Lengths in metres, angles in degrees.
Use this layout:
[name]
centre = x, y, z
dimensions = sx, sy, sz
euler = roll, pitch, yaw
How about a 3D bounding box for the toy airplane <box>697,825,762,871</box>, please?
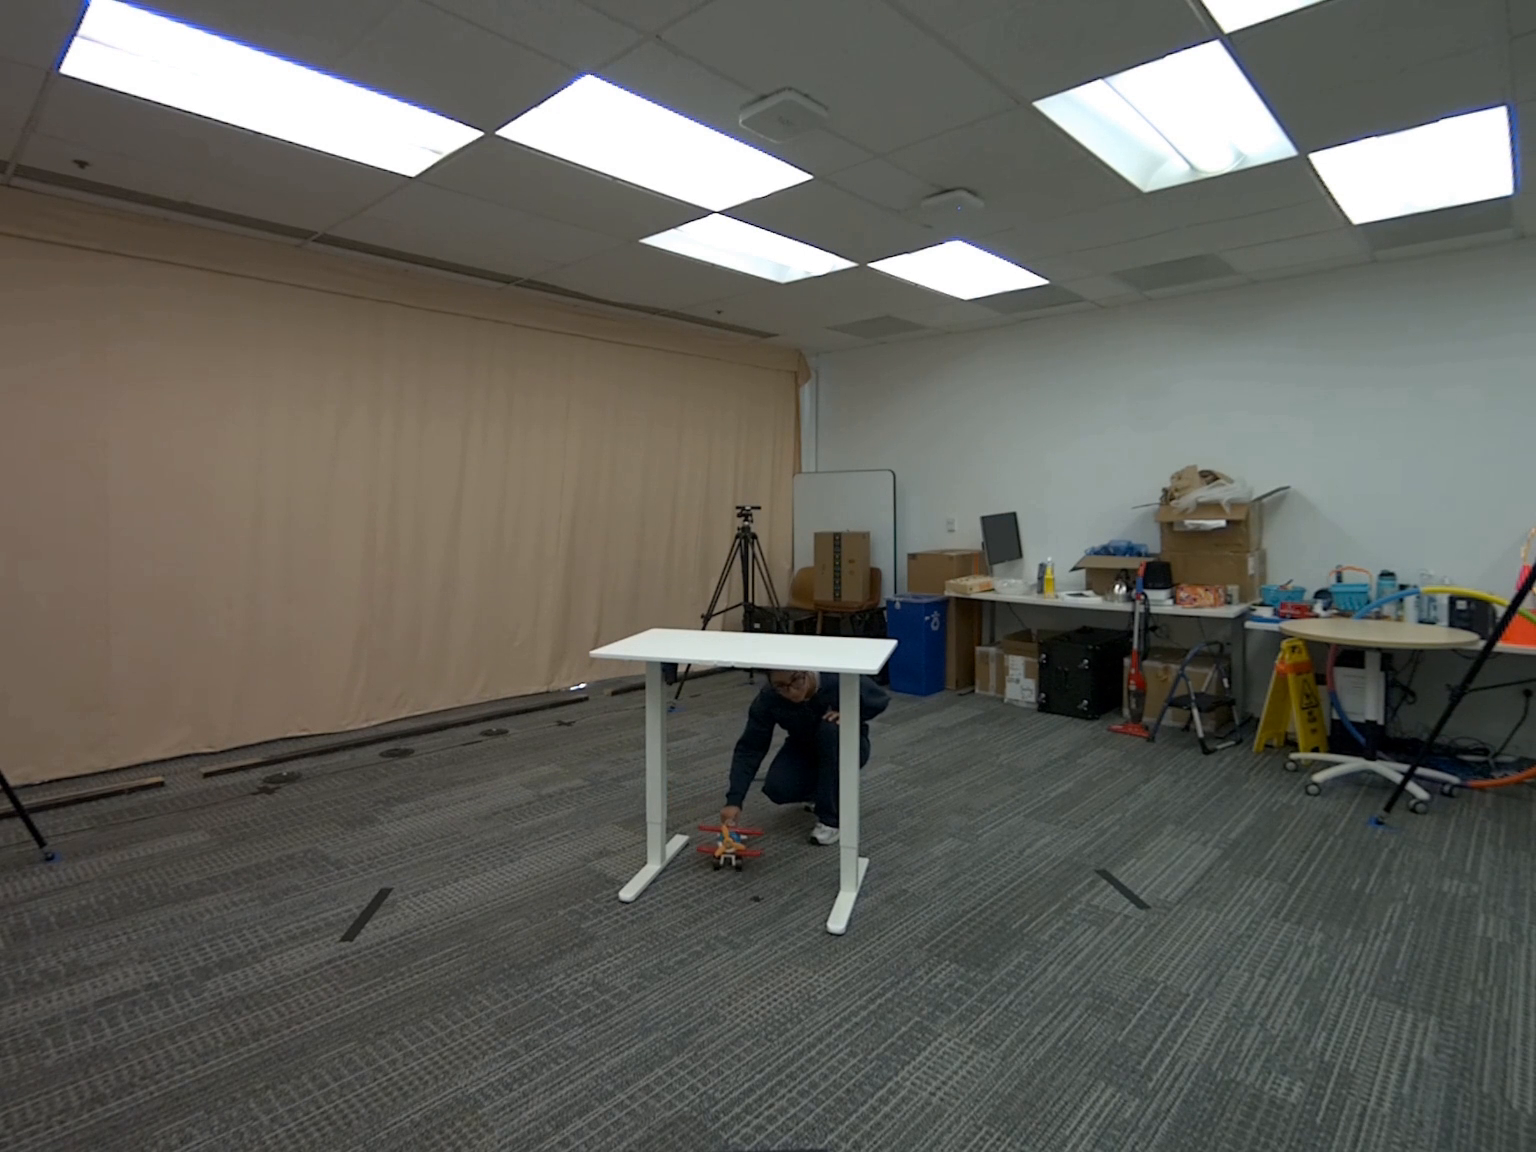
[toy airplane]
centre = -0.149, 1.040, 3.302
dimensions = 0.245, 0.156, 0.266
euler = 0, 5, -25
